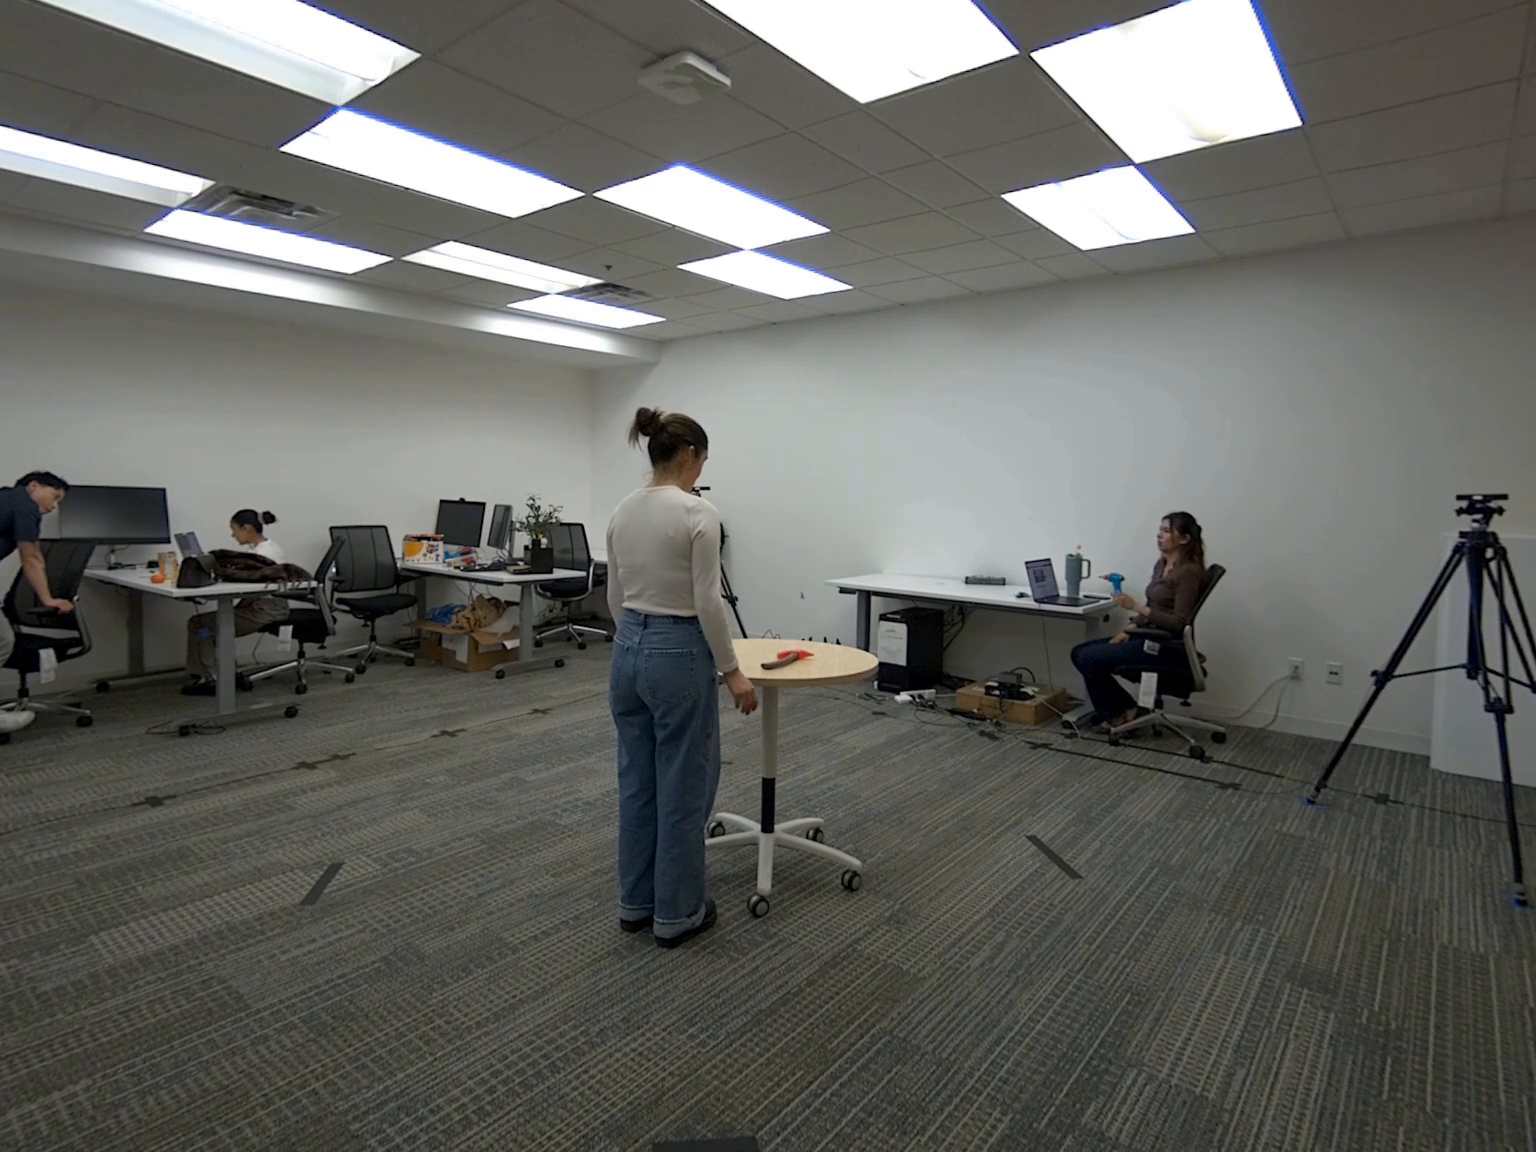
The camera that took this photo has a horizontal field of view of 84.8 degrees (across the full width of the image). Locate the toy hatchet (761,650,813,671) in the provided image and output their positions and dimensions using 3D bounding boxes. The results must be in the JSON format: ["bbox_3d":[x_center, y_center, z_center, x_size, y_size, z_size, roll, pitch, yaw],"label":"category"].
[{"bbox_3d":[0.032,0.287,2.968,0.135,0.029,0.262,2,6,38],"label":"toy hatchet"}]
